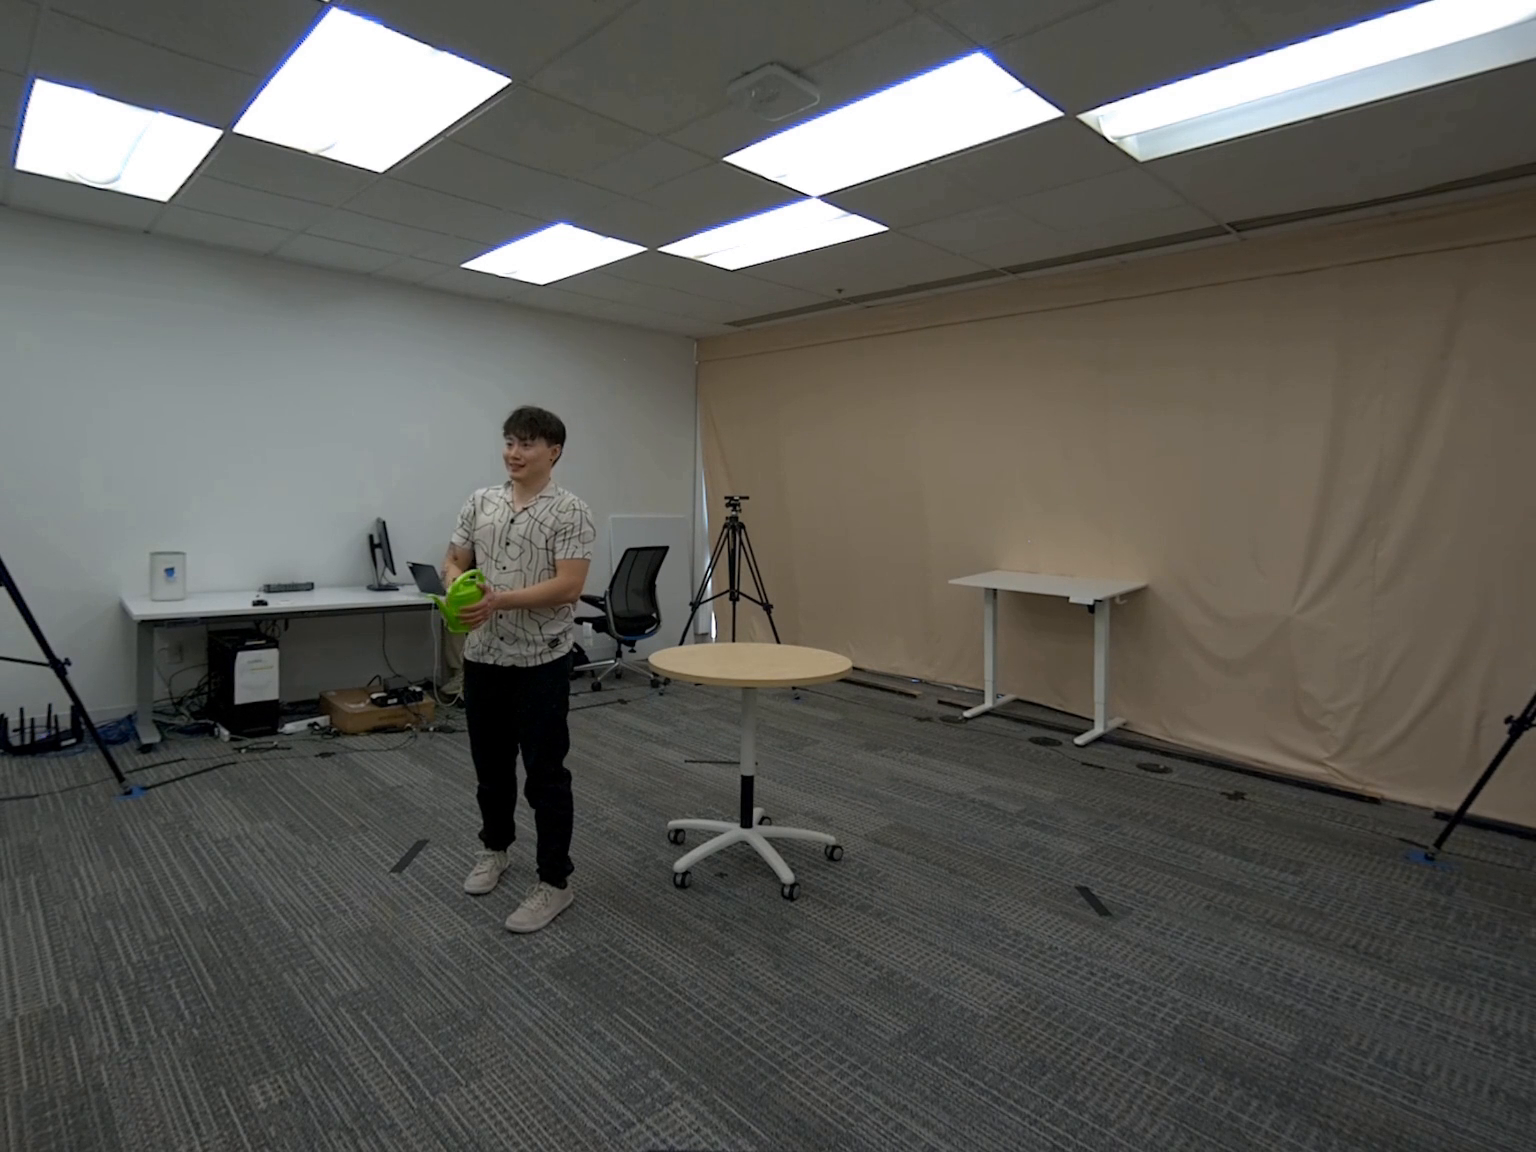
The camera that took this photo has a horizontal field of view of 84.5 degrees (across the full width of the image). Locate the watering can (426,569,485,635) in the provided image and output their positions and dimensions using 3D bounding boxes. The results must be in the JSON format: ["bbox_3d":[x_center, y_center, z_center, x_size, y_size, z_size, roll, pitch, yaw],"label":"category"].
[{"bbox_3d":[-0.975,0.093,2.570,0.100,0.174,0.275,18,23,24],"label":"watering can"}]
